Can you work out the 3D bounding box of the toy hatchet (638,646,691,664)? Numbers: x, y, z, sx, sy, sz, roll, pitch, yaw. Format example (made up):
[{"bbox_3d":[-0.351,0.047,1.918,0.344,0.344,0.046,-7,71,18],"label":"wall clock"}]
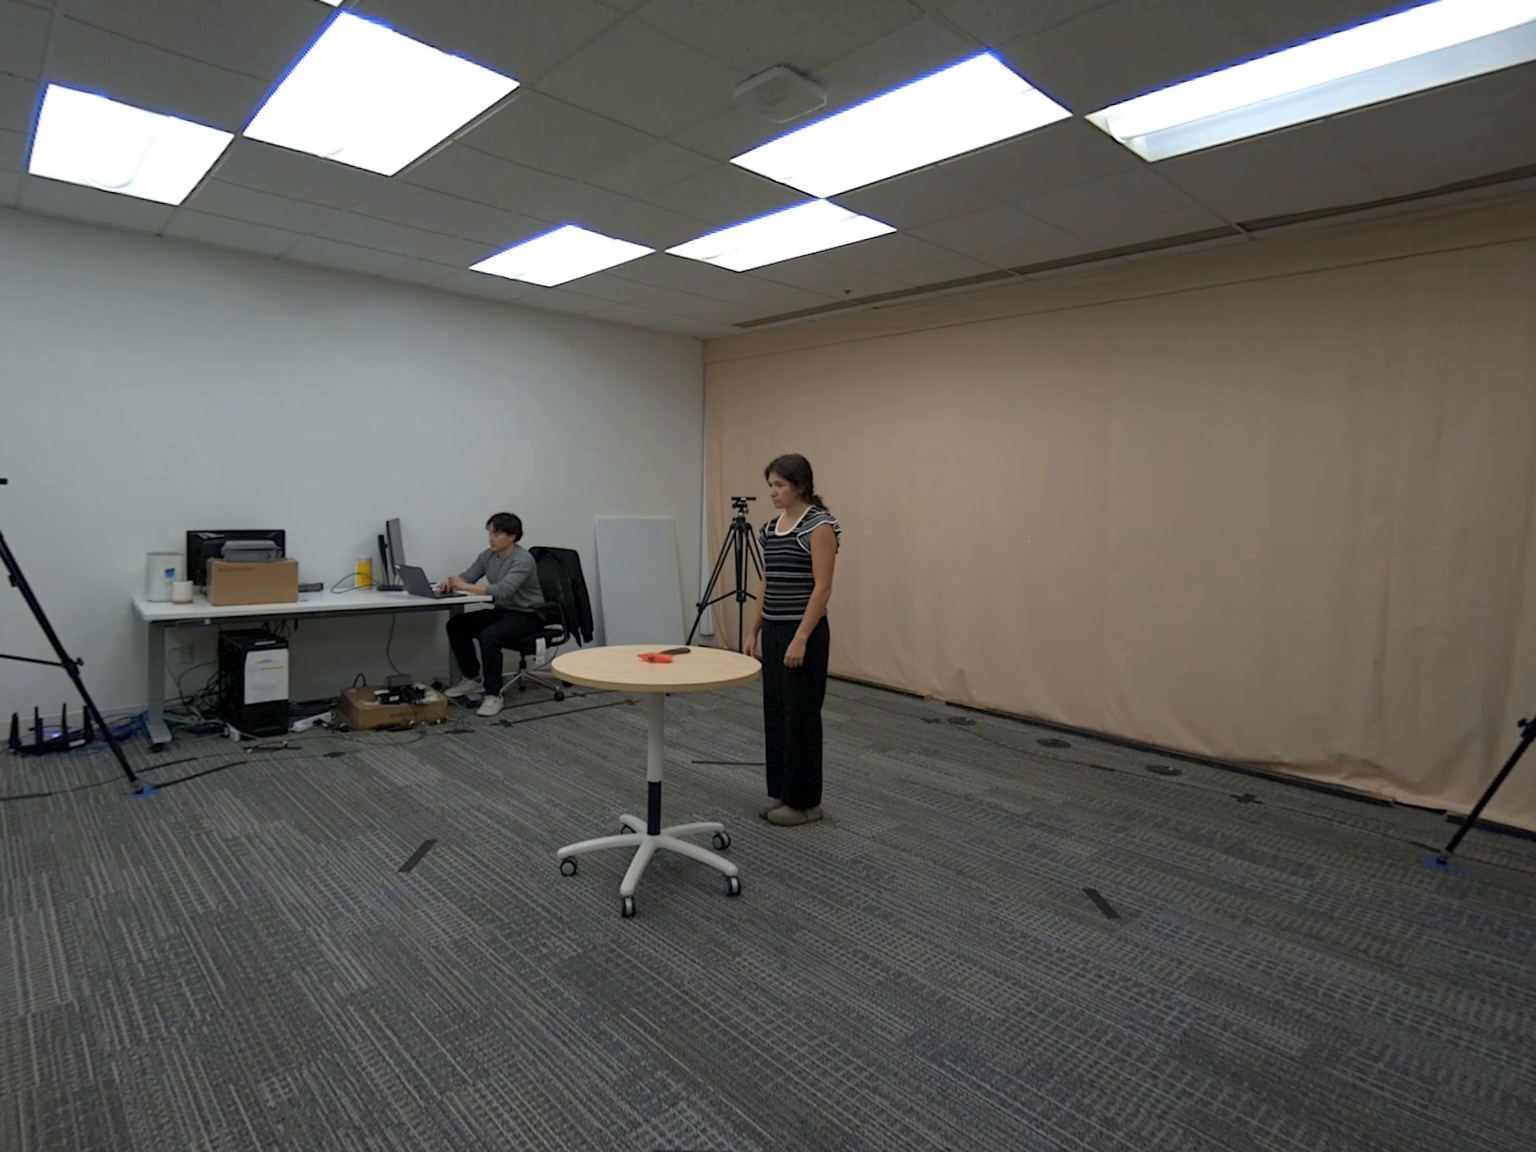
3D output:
[{"bbox_3d":[-0.379,0.298,3.198,0.134,0.029,0.264,6,6,36],"label":"toy hatchet"}]
